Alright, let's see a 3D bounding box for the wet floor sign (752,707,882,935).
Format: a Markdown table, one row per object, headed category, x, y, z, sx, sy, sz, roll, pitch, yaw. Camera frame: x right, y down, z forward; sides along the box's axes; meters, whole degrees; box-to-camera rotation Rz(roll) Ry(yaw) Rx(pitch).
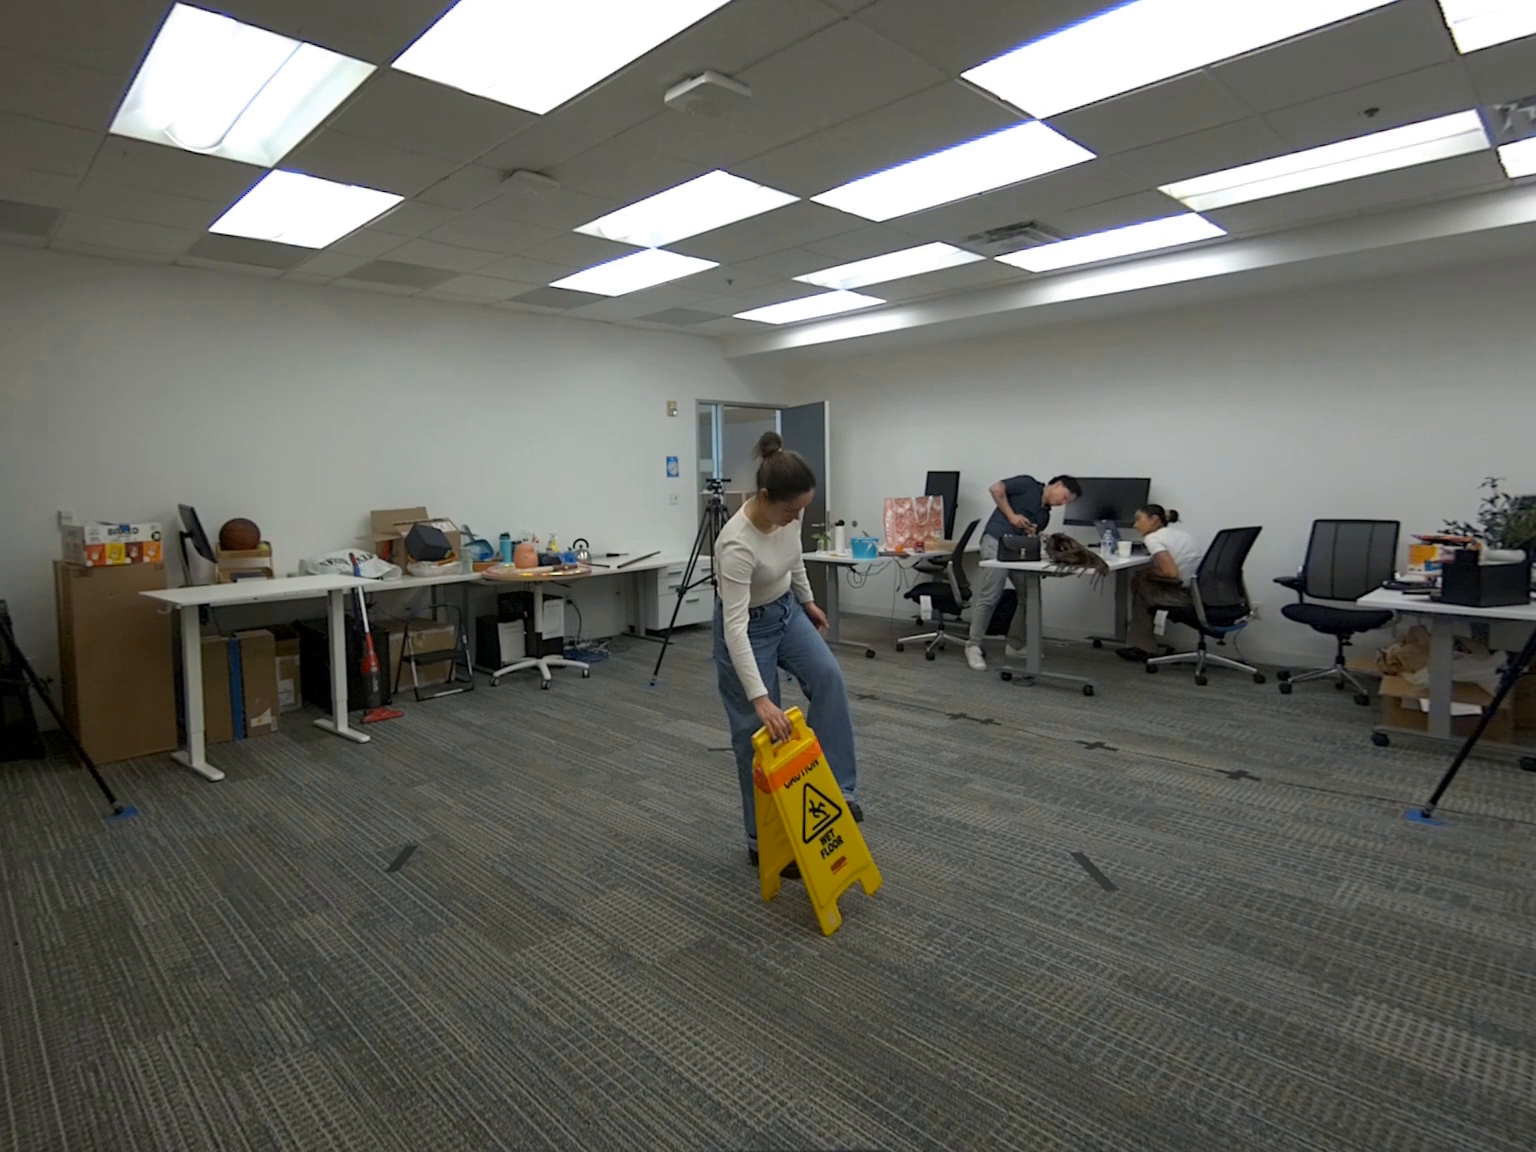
| category | x | y | z | sx | sy | sz | roll | pitch | yaw |
| --- | --- | --- | --- | --- | --- | --- | --- | --- | --- |
| wet floor sign | 0.102 | 0.743 | 2.714 | 0.278 | 0.635 | 0.298 | -27 | 19 | -37 |
